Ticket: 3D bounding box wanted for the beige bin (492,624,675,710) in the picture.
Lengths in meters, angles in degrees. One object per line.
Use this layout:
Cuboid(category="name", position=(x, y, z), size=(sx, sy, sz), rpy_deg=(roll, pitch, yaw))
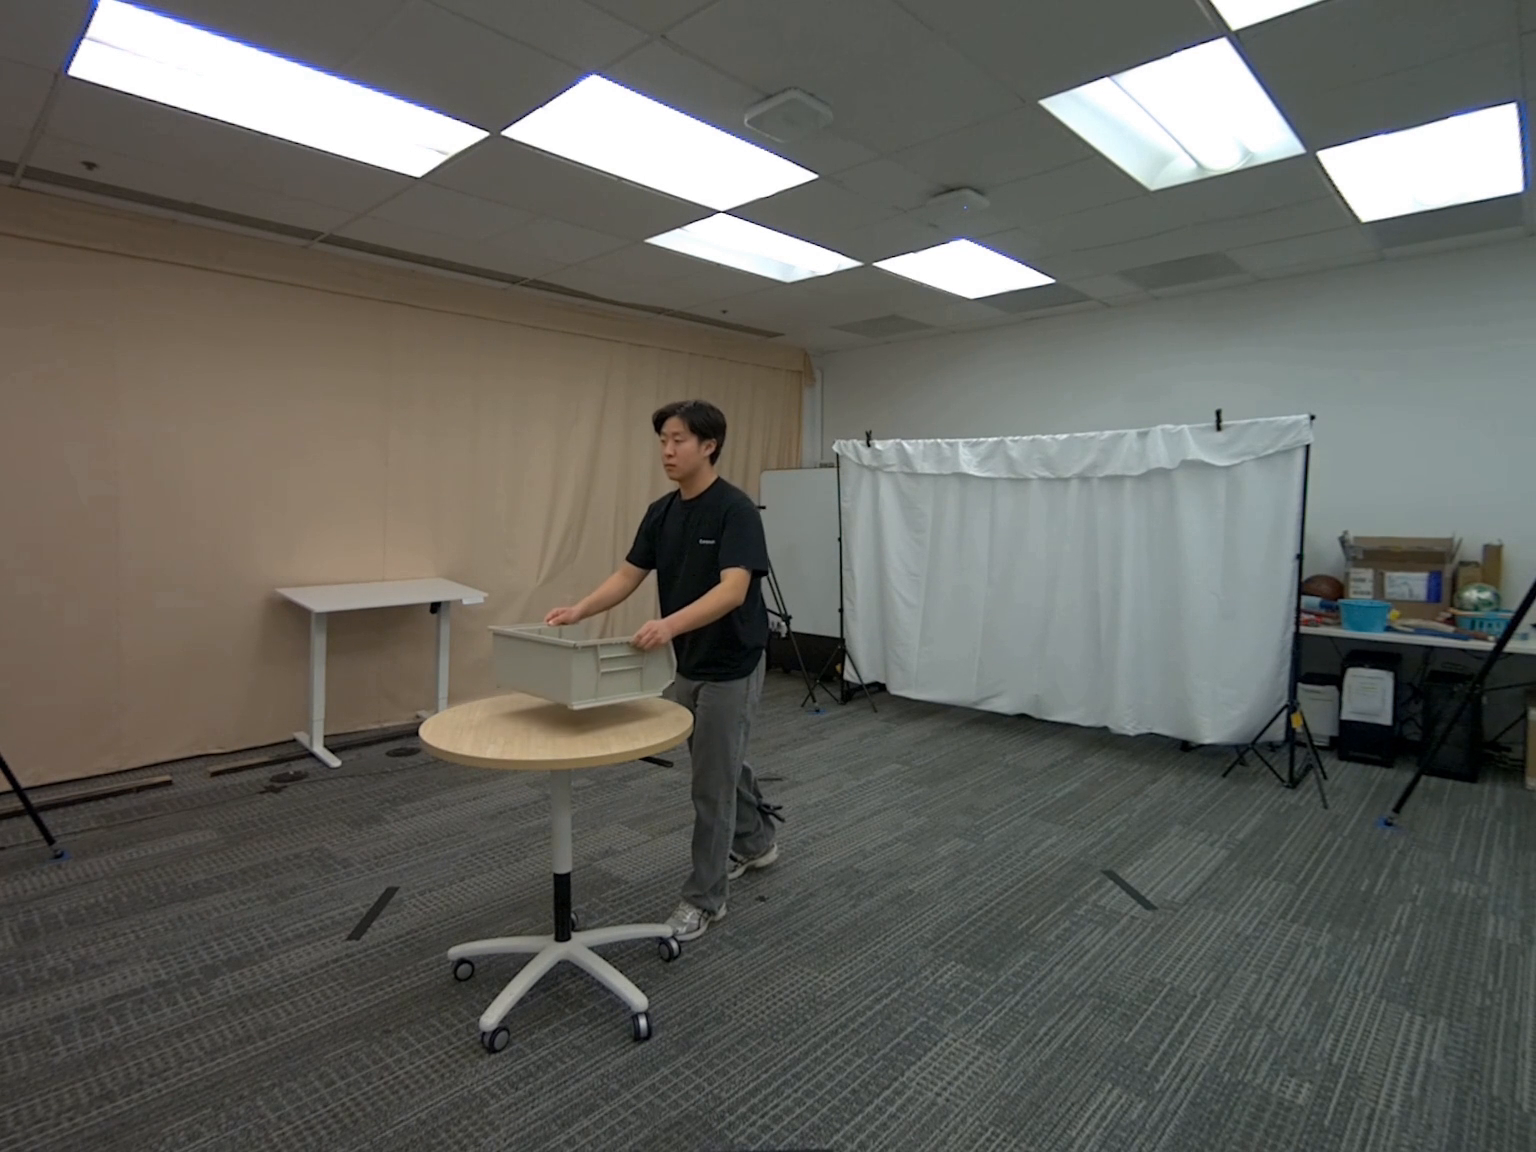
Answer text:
Cuboid(category="beige bin", position=(-0.543, 0.249, 2.465), size=(0.436, 0.188, 0.366), rpy_deg=(4, 5, 42))
